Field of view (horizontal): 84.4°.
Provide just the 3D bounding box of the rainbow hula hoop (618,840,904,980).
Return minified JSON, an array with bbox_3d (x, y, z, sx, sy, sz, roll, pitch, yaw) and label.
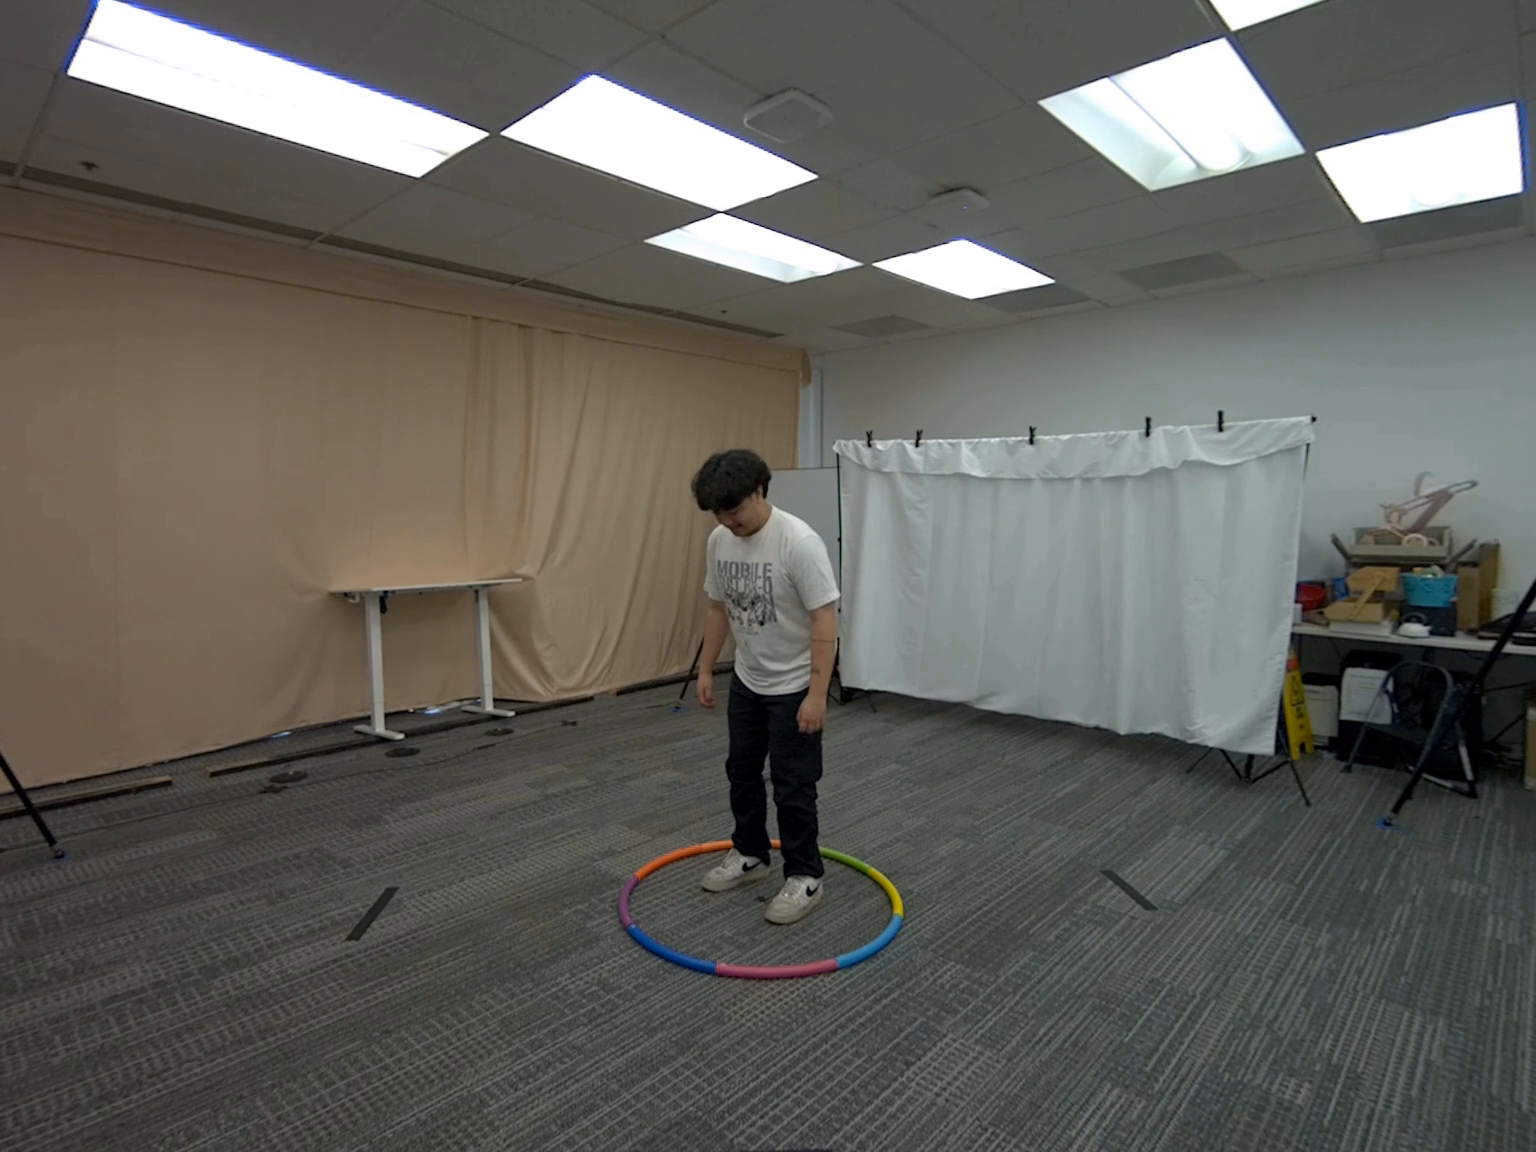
[{"bbox_3d":[-0.027,1.122,2.955,0.985,0.051,0.989,0,5,-2],"label":"rainbow hula hoop"}]
